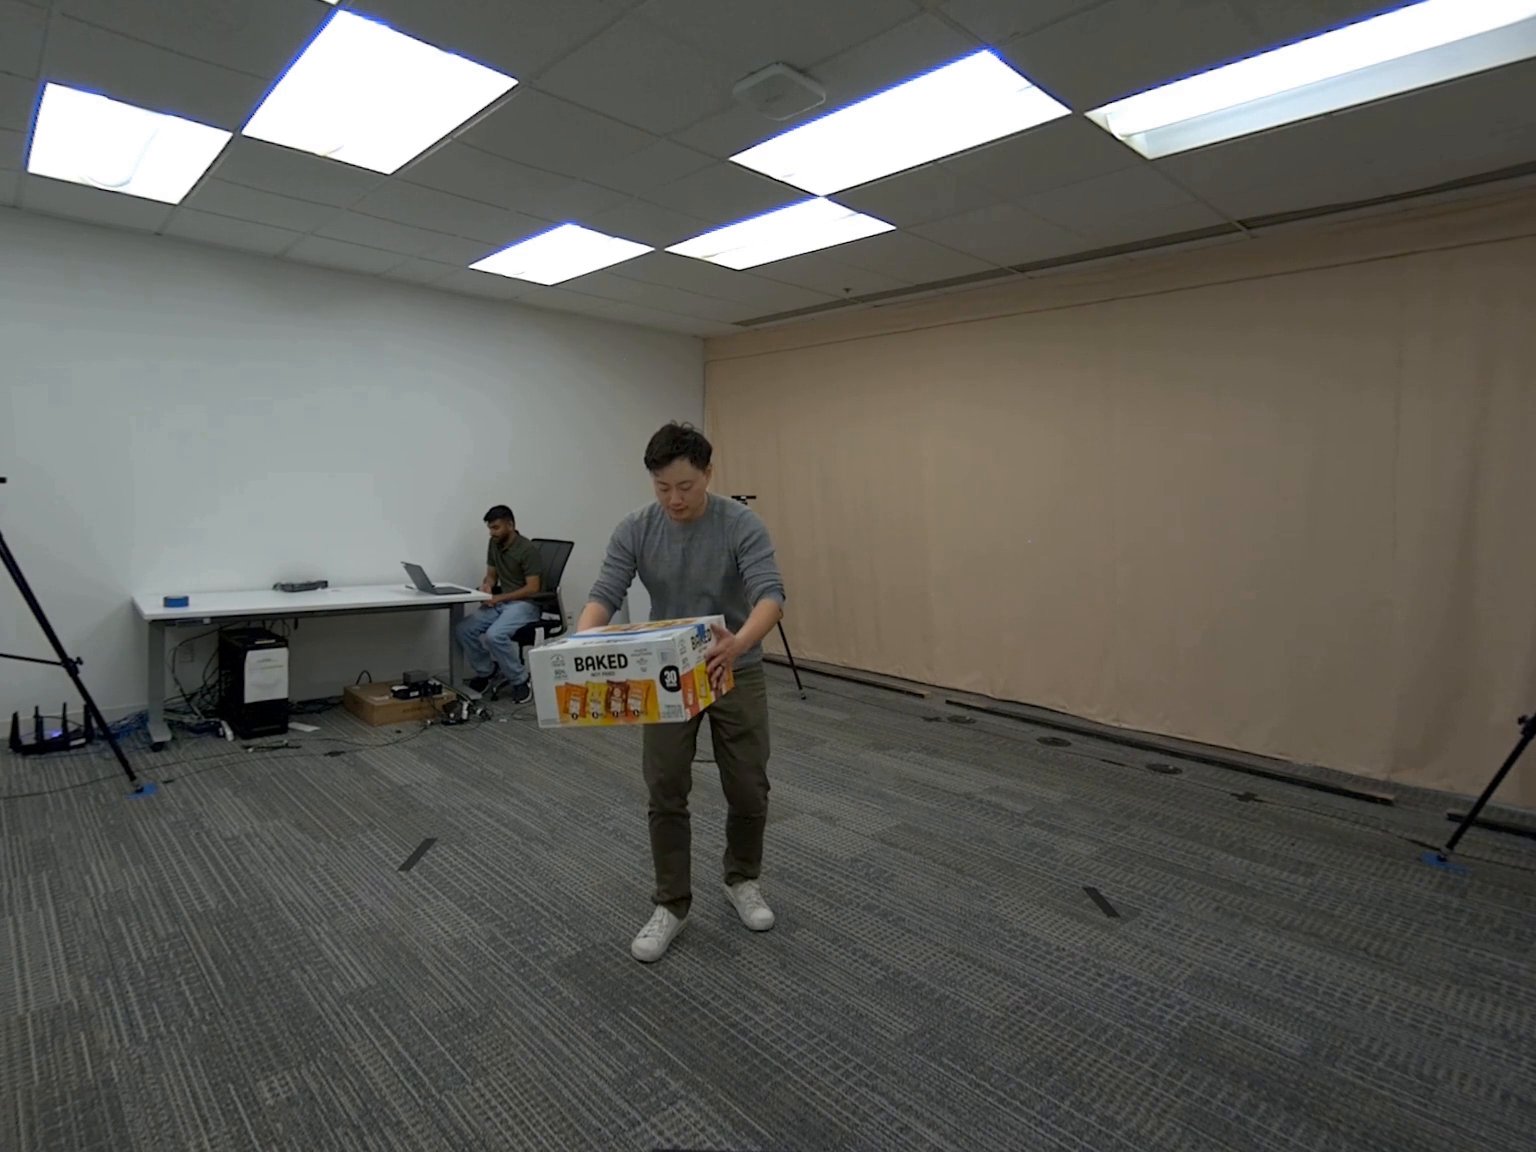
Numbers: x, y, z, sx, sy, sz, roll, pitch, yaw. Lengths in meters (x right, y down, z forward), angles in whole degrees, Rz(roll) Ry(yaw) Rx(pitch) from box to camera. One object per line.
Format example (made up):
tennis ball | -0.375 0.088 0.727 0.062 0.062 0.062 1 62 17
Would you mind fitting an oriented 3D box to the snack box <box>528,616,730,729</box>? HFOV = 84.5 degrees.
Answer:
snack box | -0.355 0.254 2.212 0.410 0.205 0.336 -6 4 19
